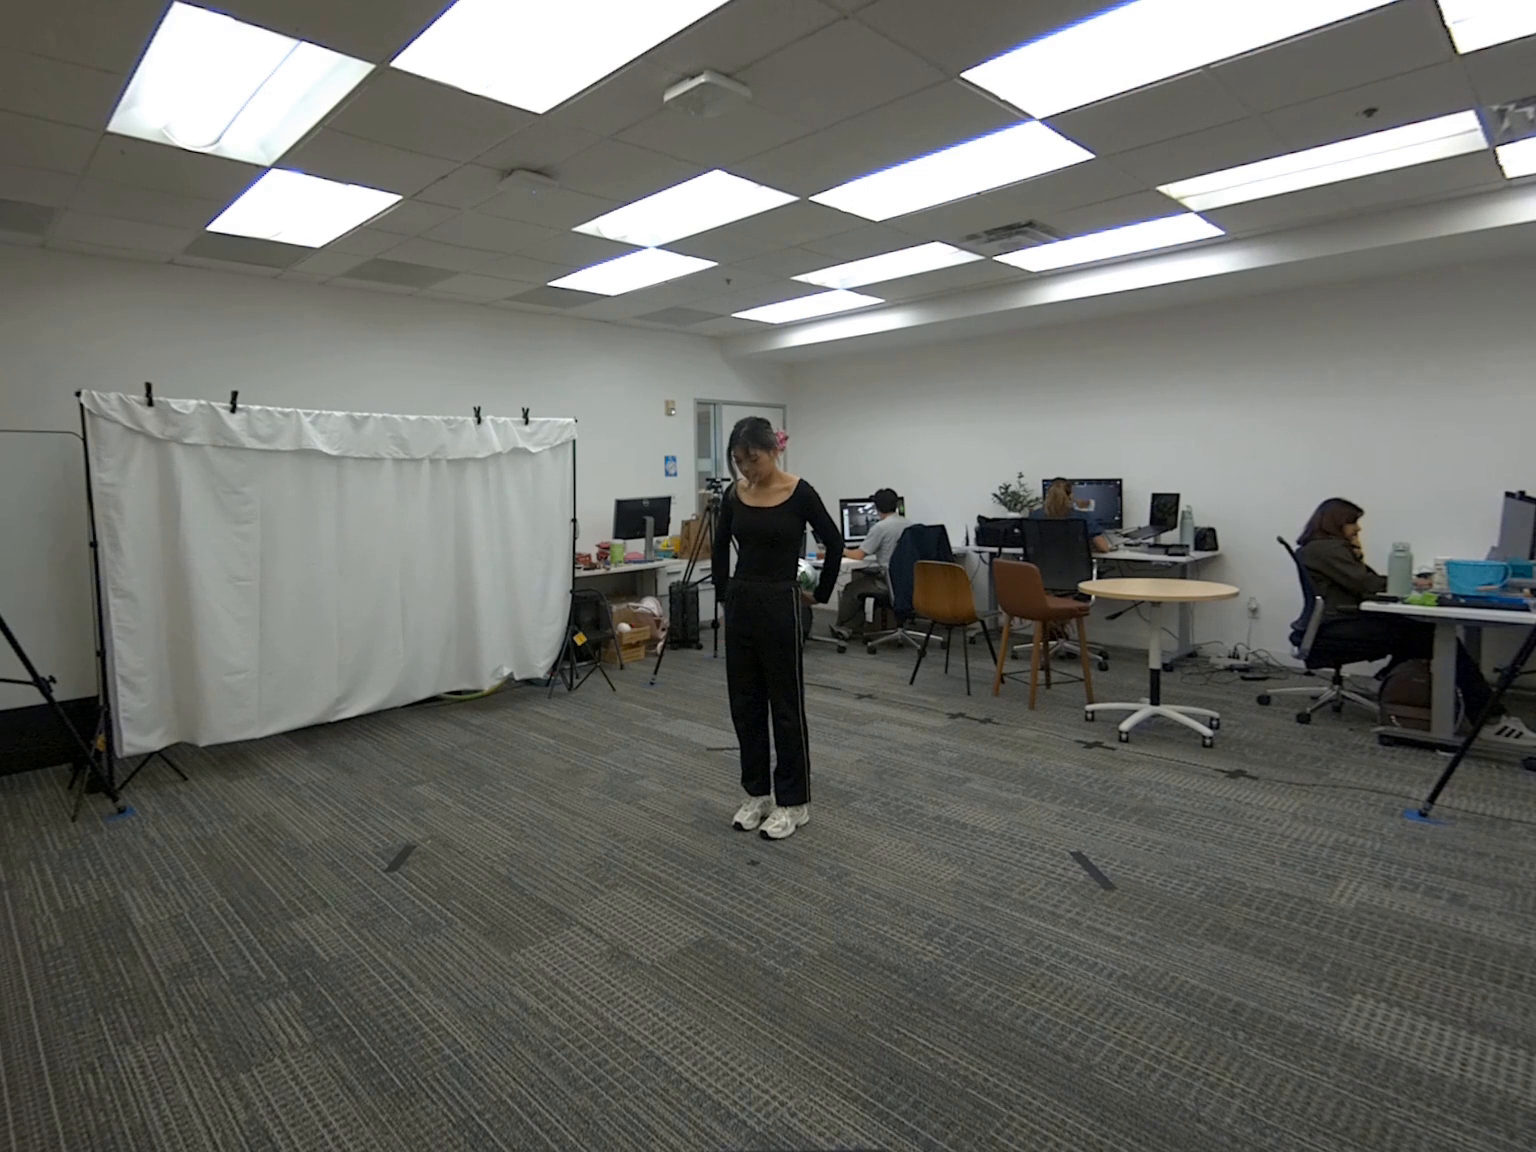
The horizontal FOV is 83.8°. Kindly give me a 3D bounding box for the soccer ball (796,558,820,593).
[{"bbox_3d":[0.124,0.021,3.590,0.187,0.187,0.188,-1,5,-2],"label":"soccer ball"}]
